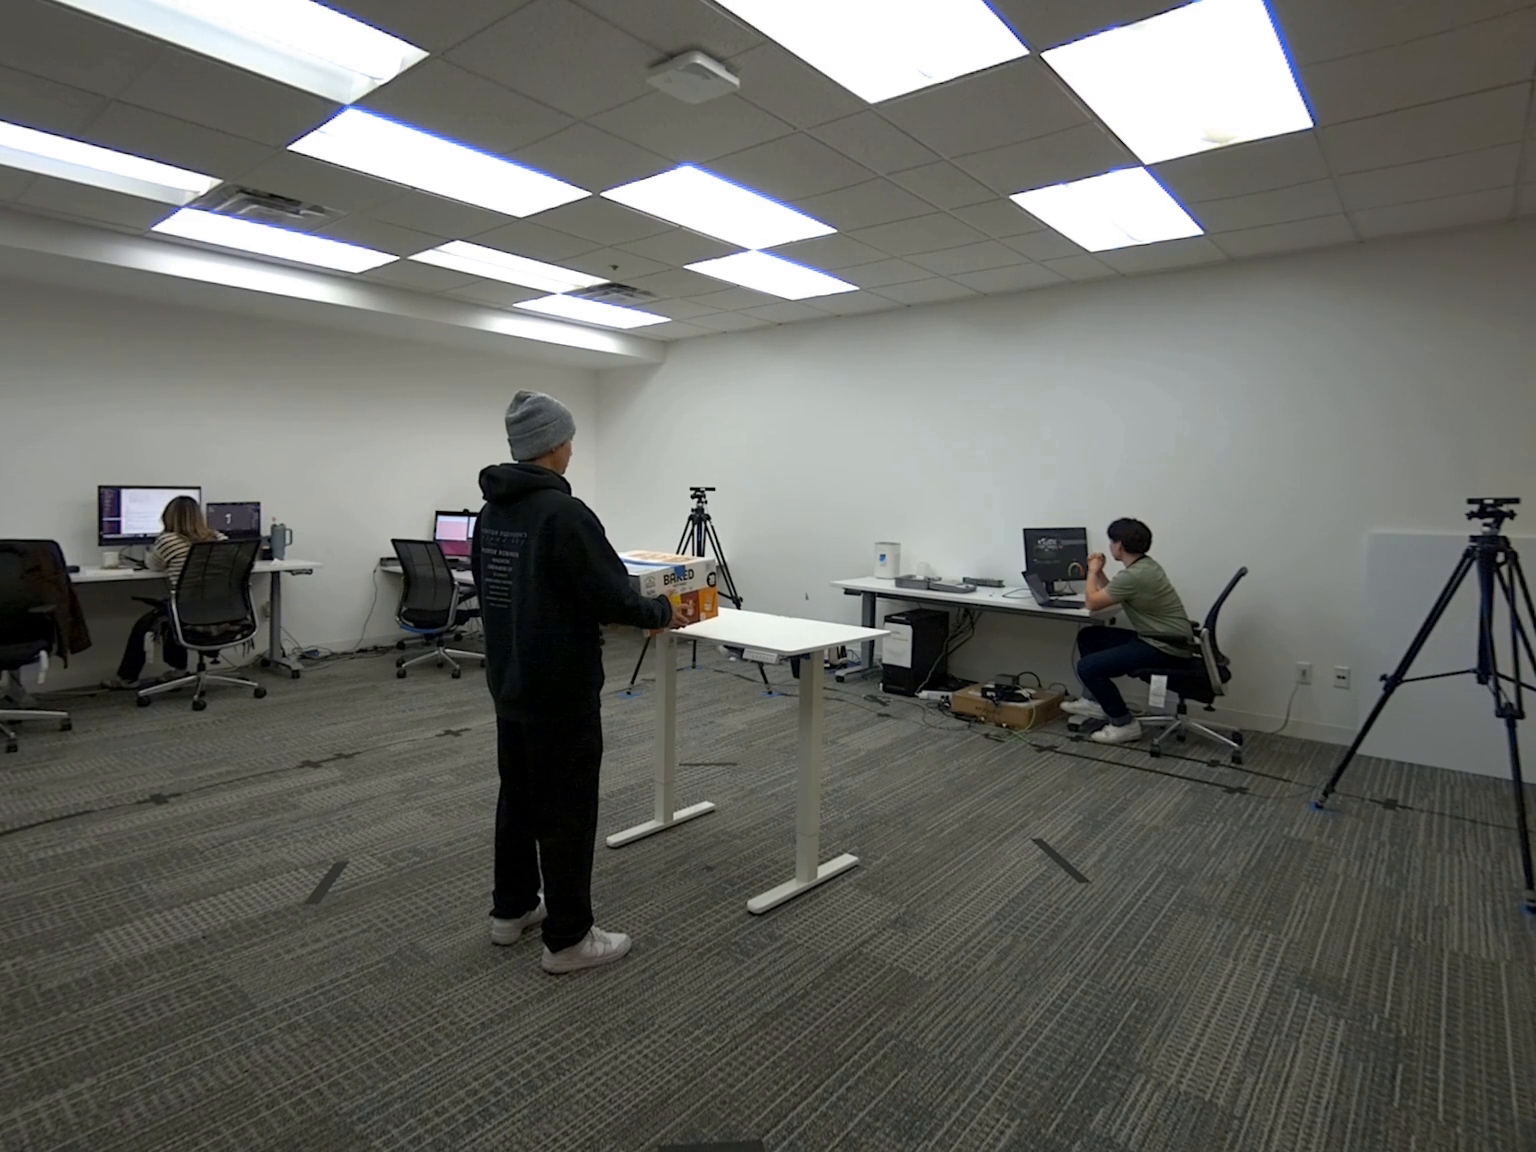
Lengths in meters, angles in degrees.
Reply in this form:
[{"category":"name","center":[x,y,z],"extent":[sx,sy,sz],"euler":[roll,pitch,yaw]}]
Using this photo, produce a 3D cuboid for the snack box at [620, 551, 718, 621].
[{"category":"snack box","center":[-0.445,0.049,2.881],"extent":[0.419,0.204,0.331],"euler":[6,12,41]}]
